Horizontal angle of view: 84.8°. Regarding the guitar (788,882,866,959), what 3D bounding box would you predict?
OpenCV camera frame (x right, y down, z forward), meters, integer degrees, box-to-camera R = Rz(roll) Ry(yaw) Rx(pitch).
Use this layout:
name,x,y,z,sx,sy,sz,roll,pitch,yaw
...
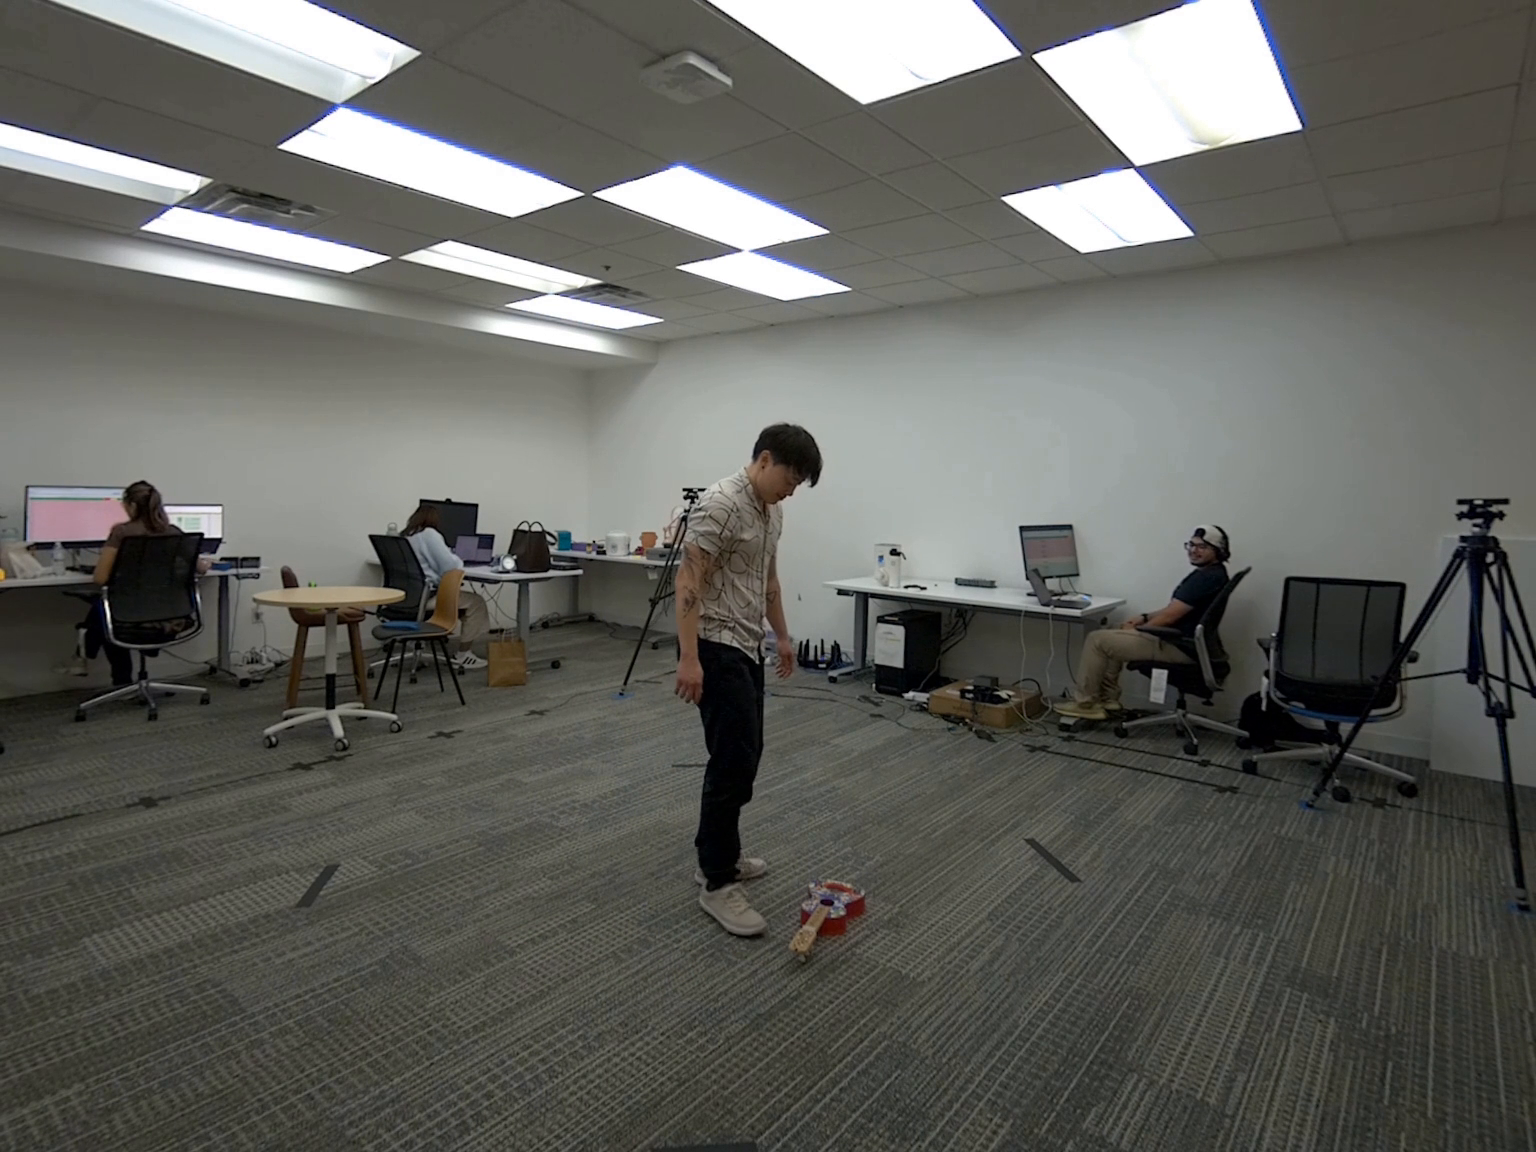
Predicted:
name,x,y,z,sx,sy,sz,roll,pitch,yaw
guitar,0.138,1.085,2.699,0.199,0.070,0.485,4,6,29
